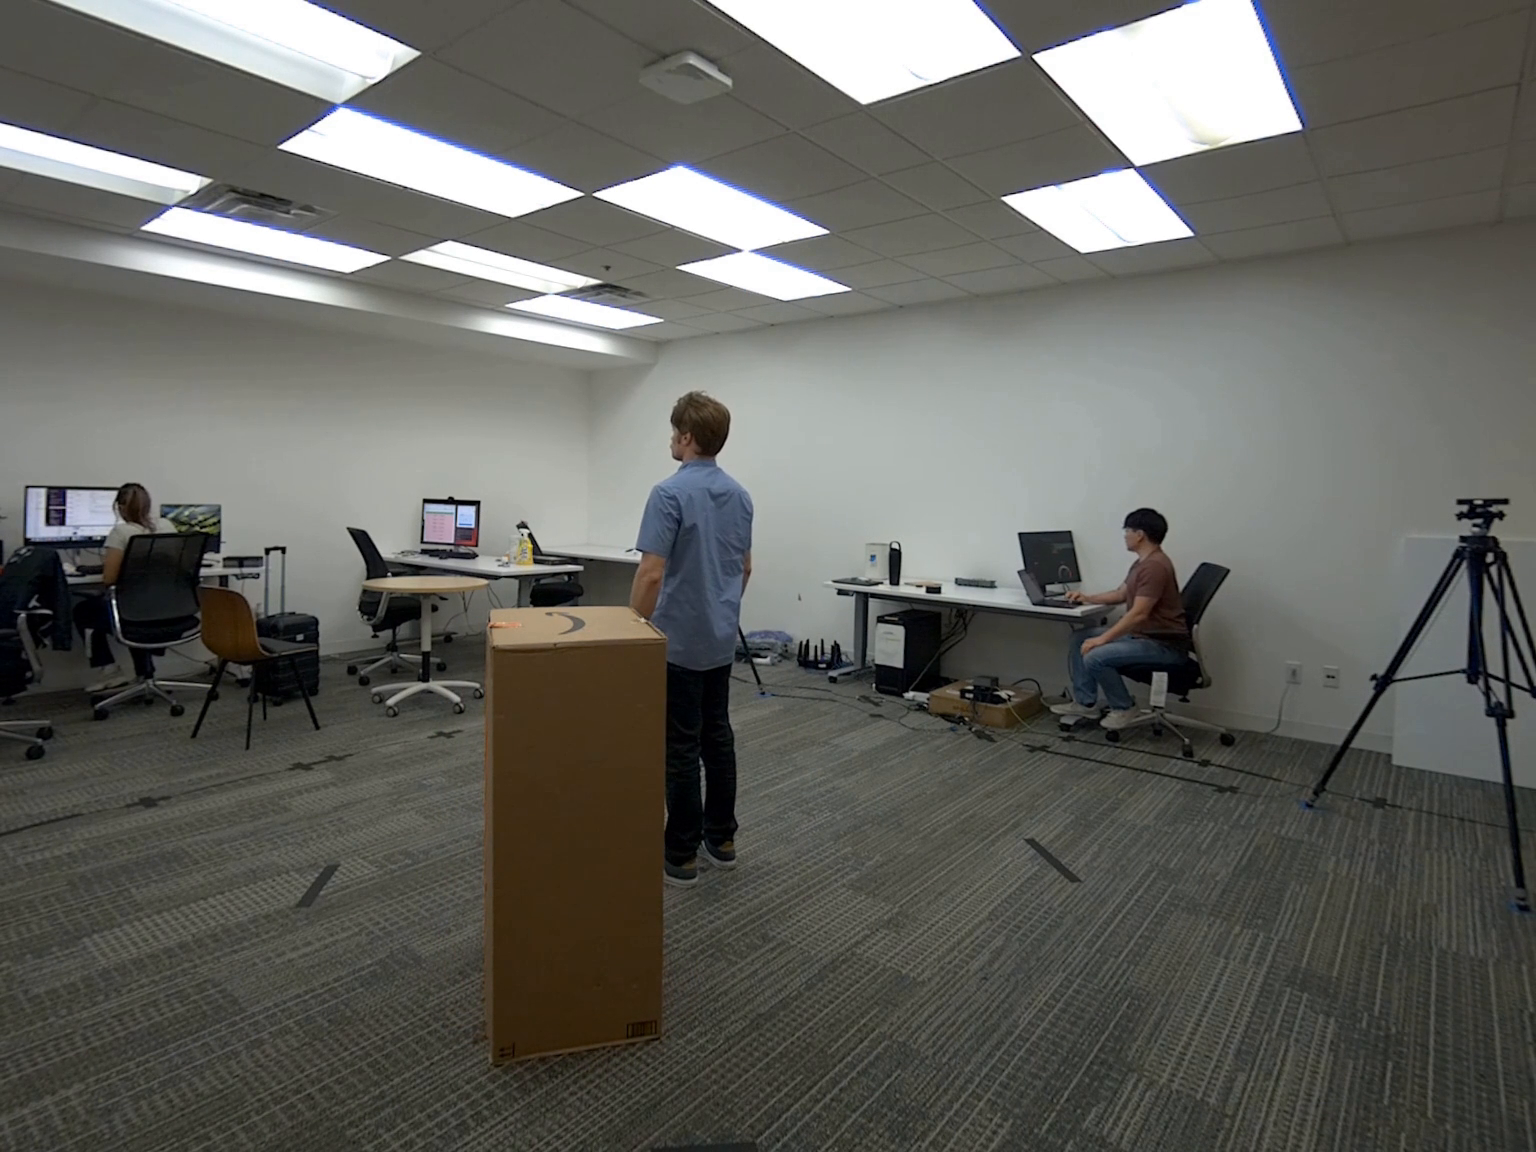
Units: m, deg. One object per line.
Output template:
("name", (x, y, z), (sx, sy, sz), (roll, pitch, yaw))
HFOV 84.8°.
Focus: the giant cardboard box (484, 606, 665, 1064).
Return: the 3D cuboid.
("giant cardboard box", (-0.562, 0.634, 2.328), (0.419, 1.022, 0.590), (0, 4, -18))
